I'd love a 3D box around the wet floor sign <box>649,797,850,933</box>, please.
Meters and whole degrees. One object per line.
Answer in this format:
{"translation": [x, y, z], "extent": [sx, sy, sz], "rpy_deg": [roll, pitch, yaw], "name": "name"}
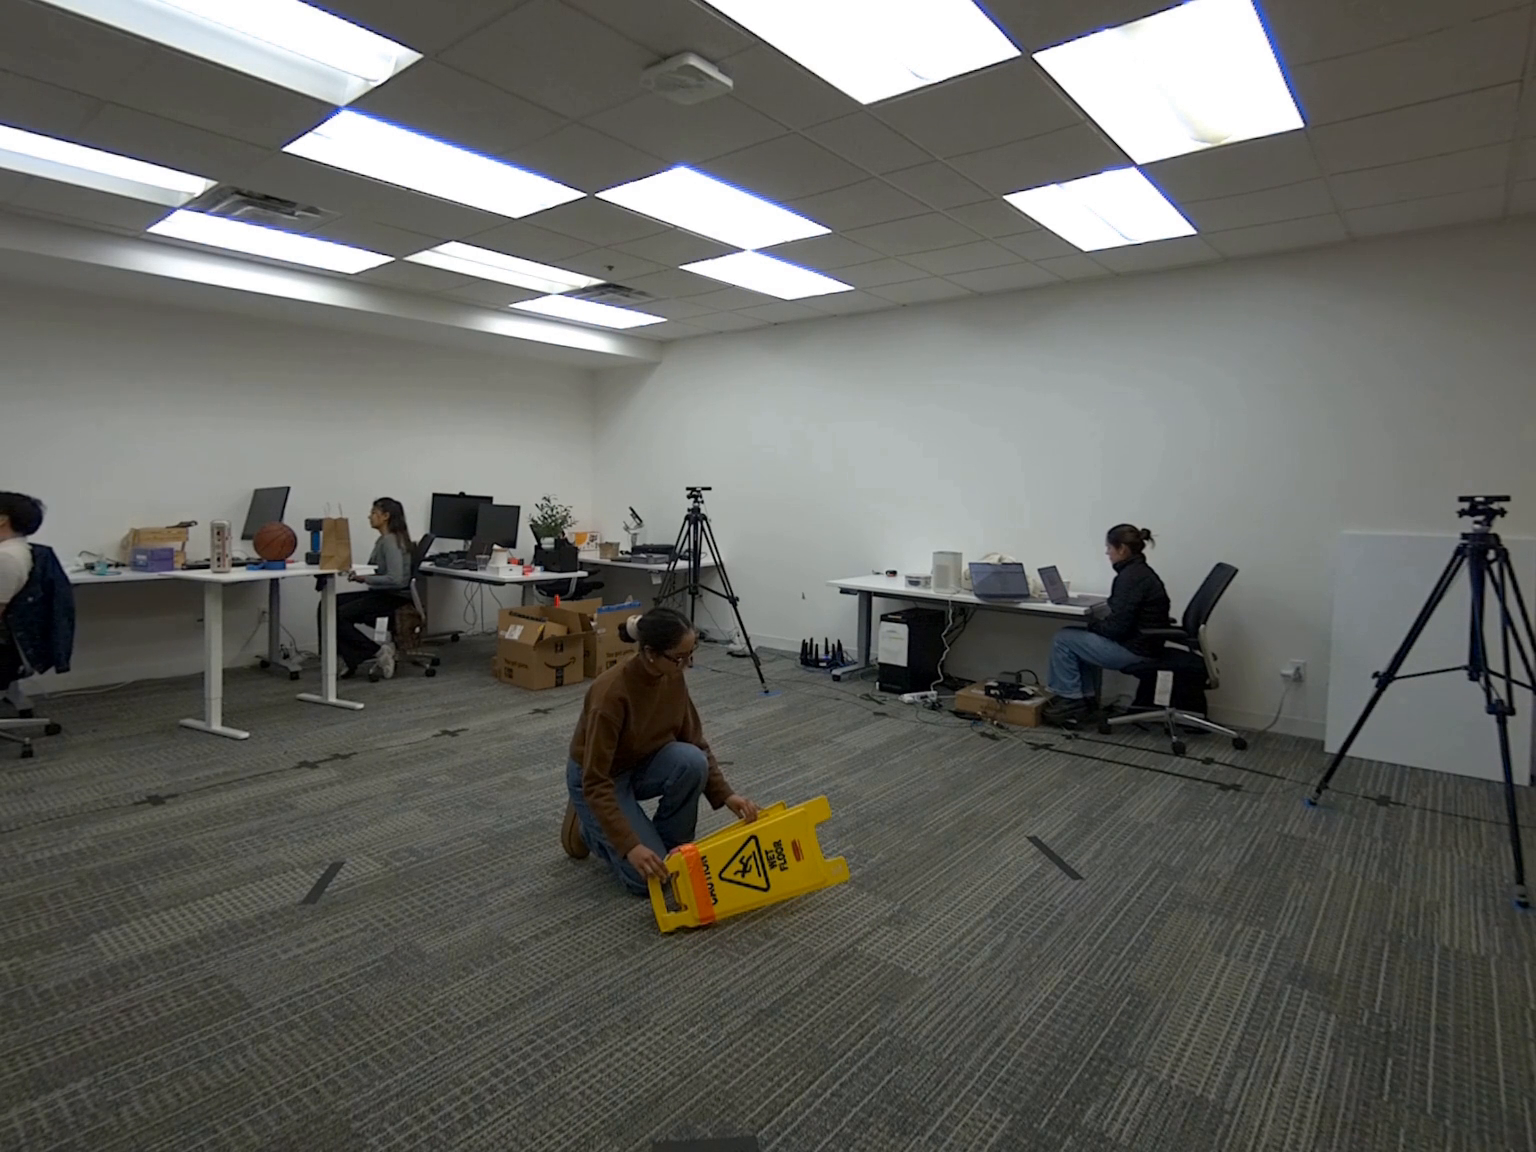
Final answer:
{"translation": [-0.099, 0.965, 2.813], "extent": [0.631, 0.287, 0.292], "rpy_deg": [-10, -13, -31], "name": "wet floor sign"}
